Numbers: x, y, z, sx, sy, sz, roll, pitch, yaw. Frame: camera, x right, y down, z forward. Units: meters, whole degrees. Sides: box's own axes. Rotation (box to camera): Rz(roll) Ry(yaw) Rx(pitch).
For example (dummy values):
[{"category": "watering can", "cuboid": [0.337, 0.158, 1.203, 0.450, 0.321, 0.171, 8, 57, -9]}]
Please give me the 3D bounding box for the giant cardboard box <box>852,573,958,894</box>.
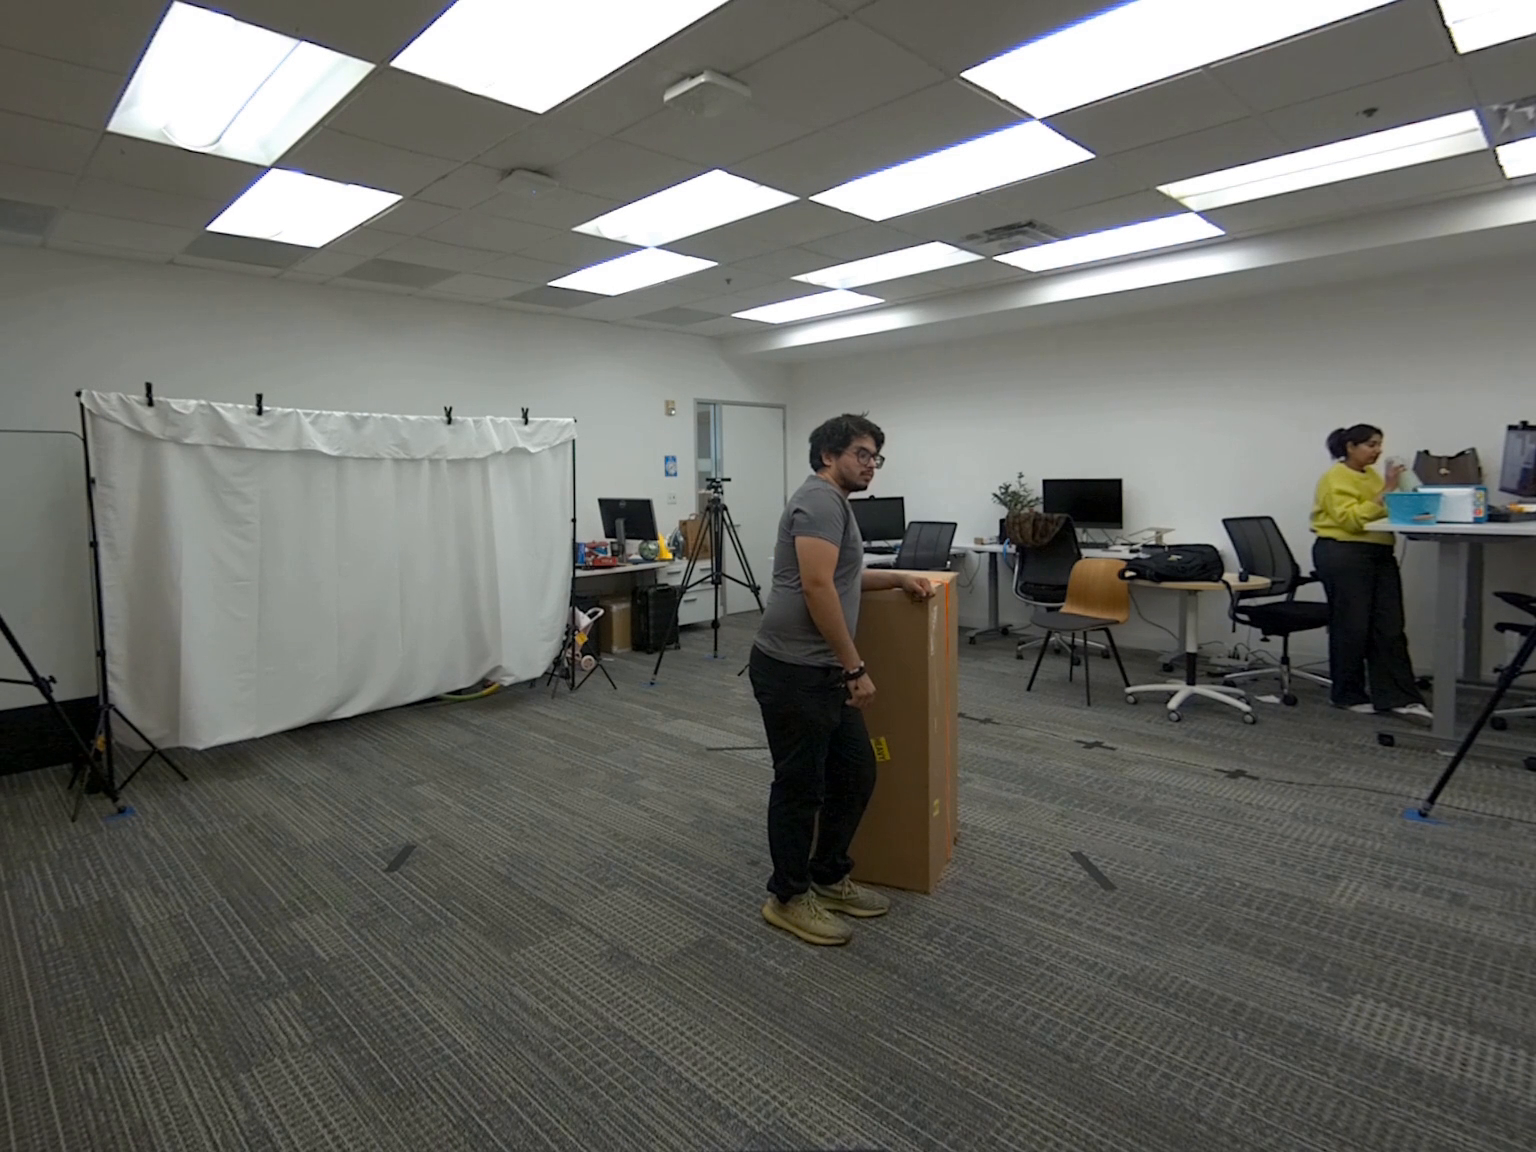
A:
[{"category": "giant cardboard box", "cuboid": [0.454, 0.519, 3.166, 0.436, 1.022, 0.567, 1, 4, 24]}]
